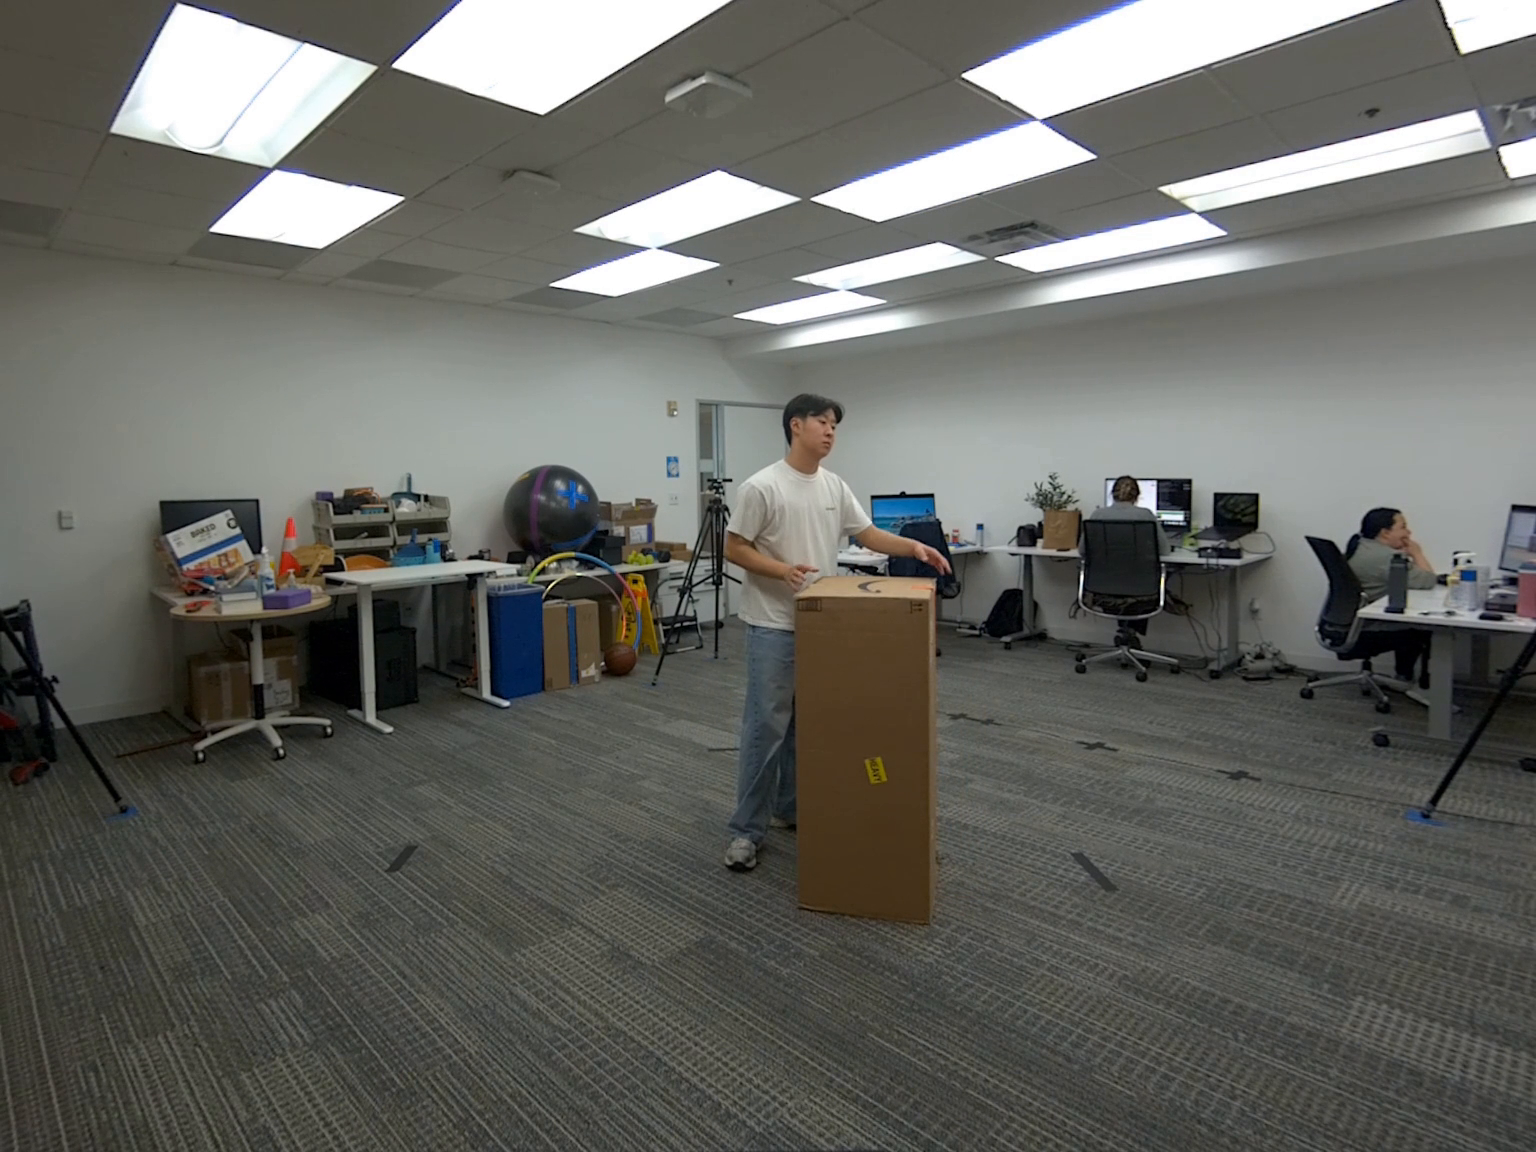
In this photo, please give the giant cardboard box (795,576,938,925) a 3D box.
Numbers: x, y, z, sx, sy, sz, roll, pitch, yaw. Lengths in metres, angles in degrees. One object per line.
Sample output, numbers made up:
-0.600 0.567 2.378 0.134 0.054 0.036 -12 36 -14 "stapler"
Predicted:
0.366 0.542 2.953 0.432 1.023 0.571 0 3 15 "giant cardboard box"
